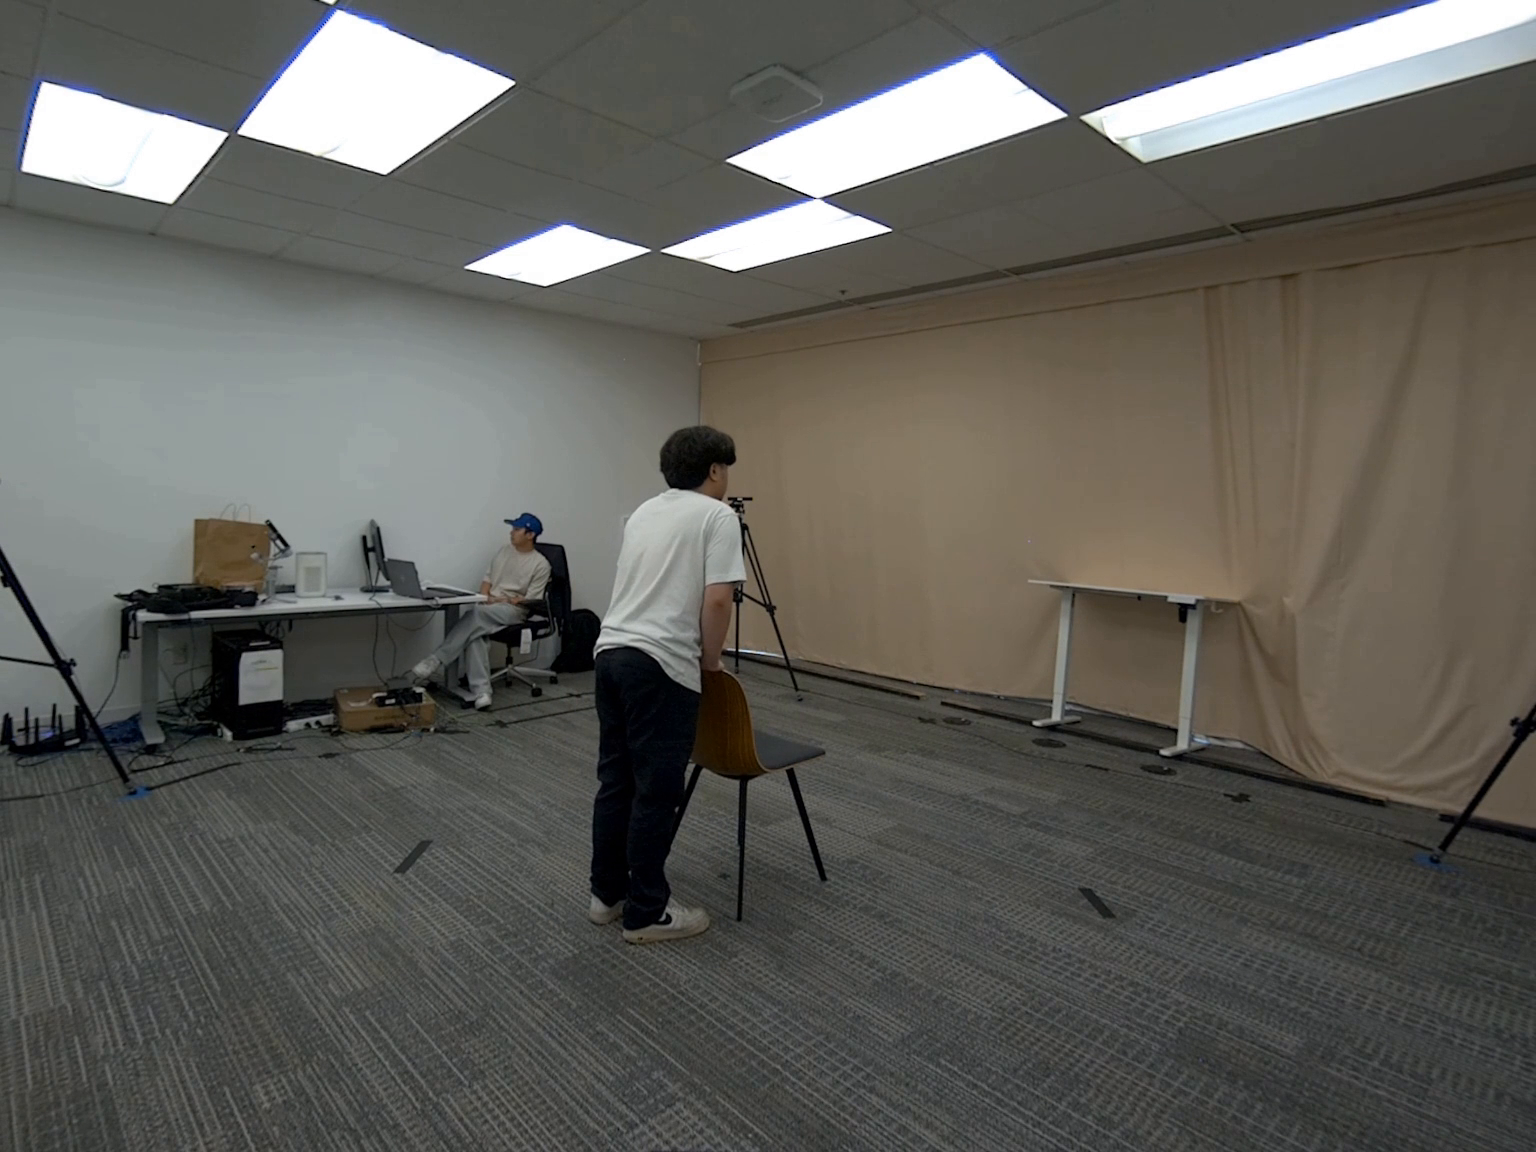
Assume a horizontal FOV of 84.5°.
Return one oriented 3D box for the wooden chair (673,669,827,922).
[{"bbox_3d":[-0.091,0.688,3.063,0.490,0.873,0.512,4,9,44],"label":"wooden chair"}]
